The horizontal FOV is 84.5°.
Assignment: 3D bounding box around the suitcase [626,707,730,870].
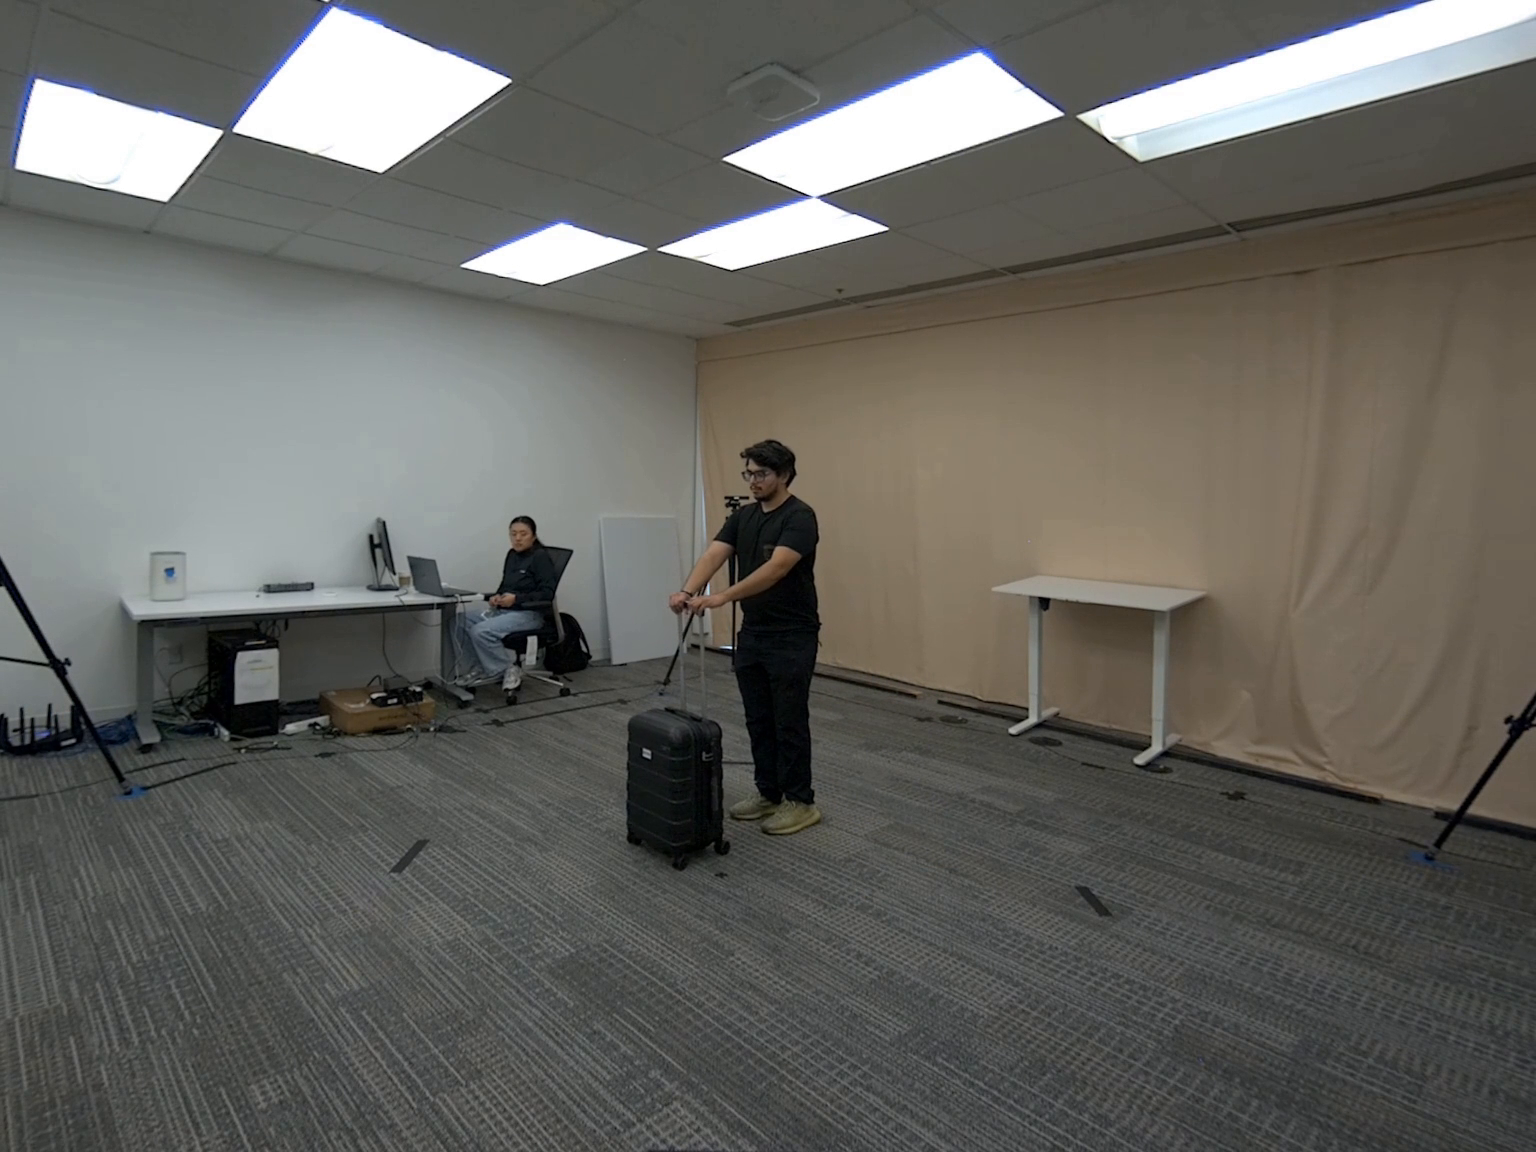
[{"bbox_3d":[-0.375,0.608,3.270,0.252,0.974,0.394,-7,9,-43],"label":"suitcase"}]
